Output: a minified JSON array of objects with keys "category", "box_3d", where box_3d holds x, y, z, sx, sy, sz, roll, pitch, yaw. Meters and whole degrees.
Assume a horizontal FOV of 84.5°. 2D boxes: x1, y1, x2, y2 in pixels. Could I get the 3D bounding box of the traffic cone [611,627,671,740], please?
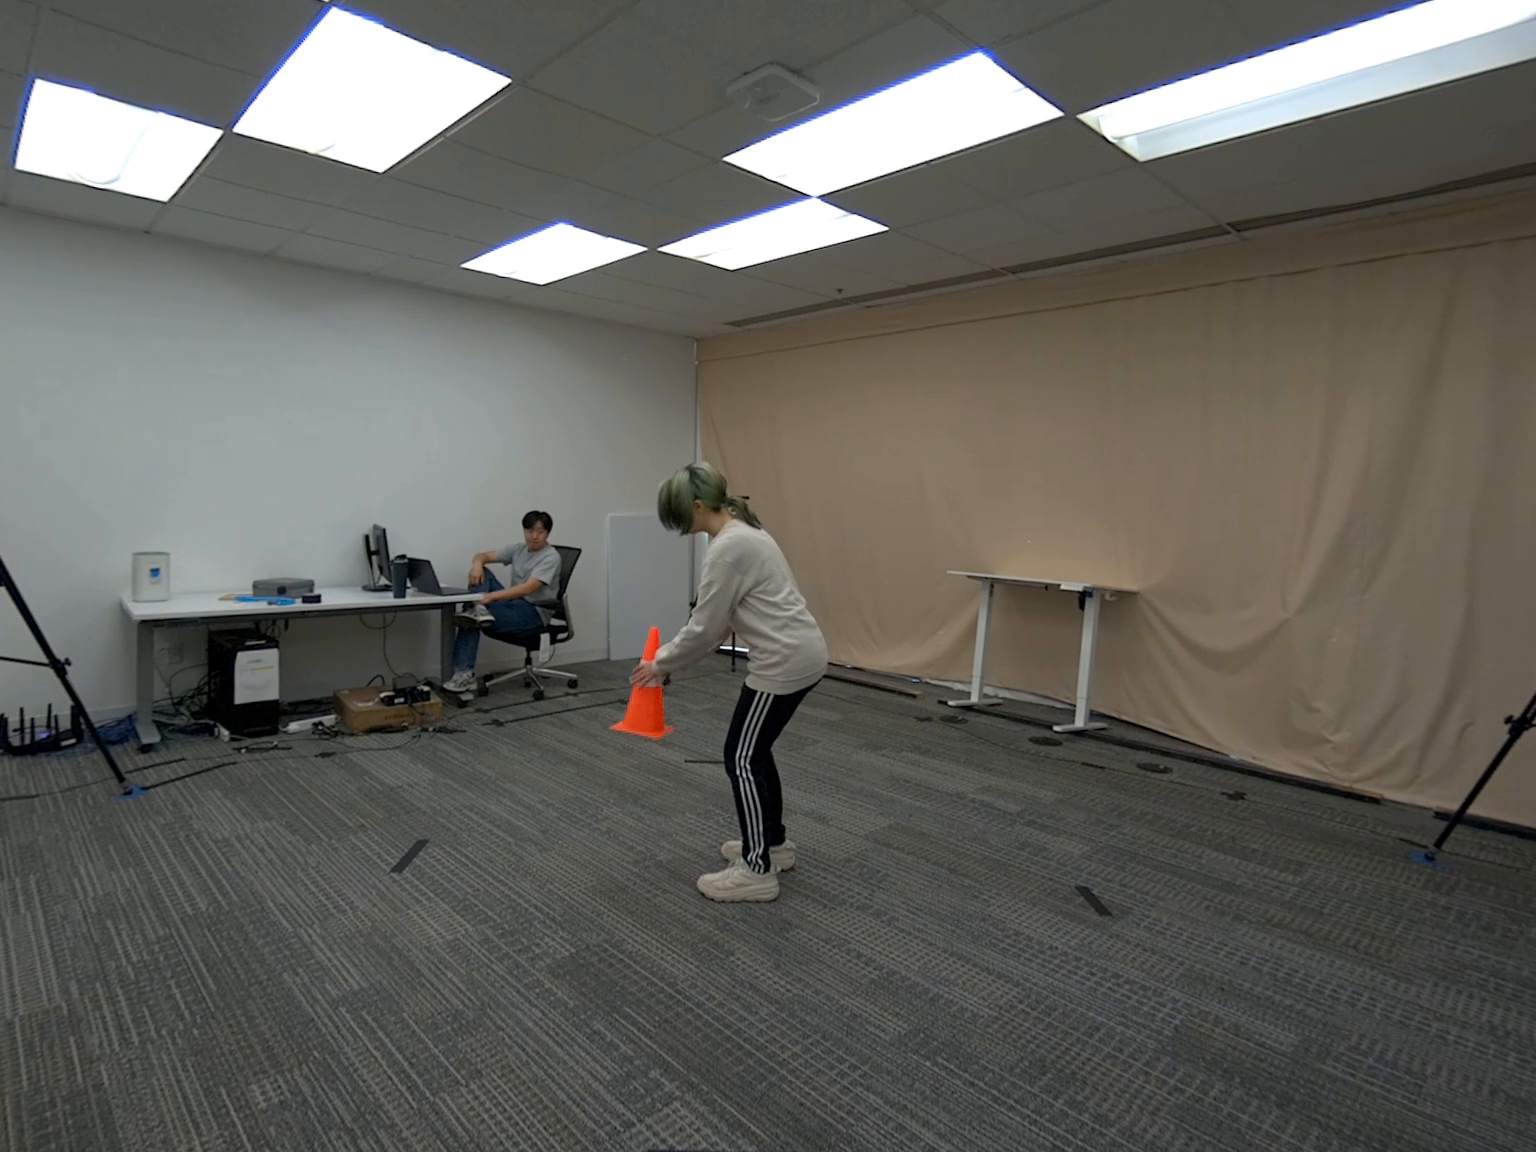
[{"category":"traffic cone","box_3d":[-0.442,0.383,3.160,0.206,0.383,0.202,7,2,18]}]
